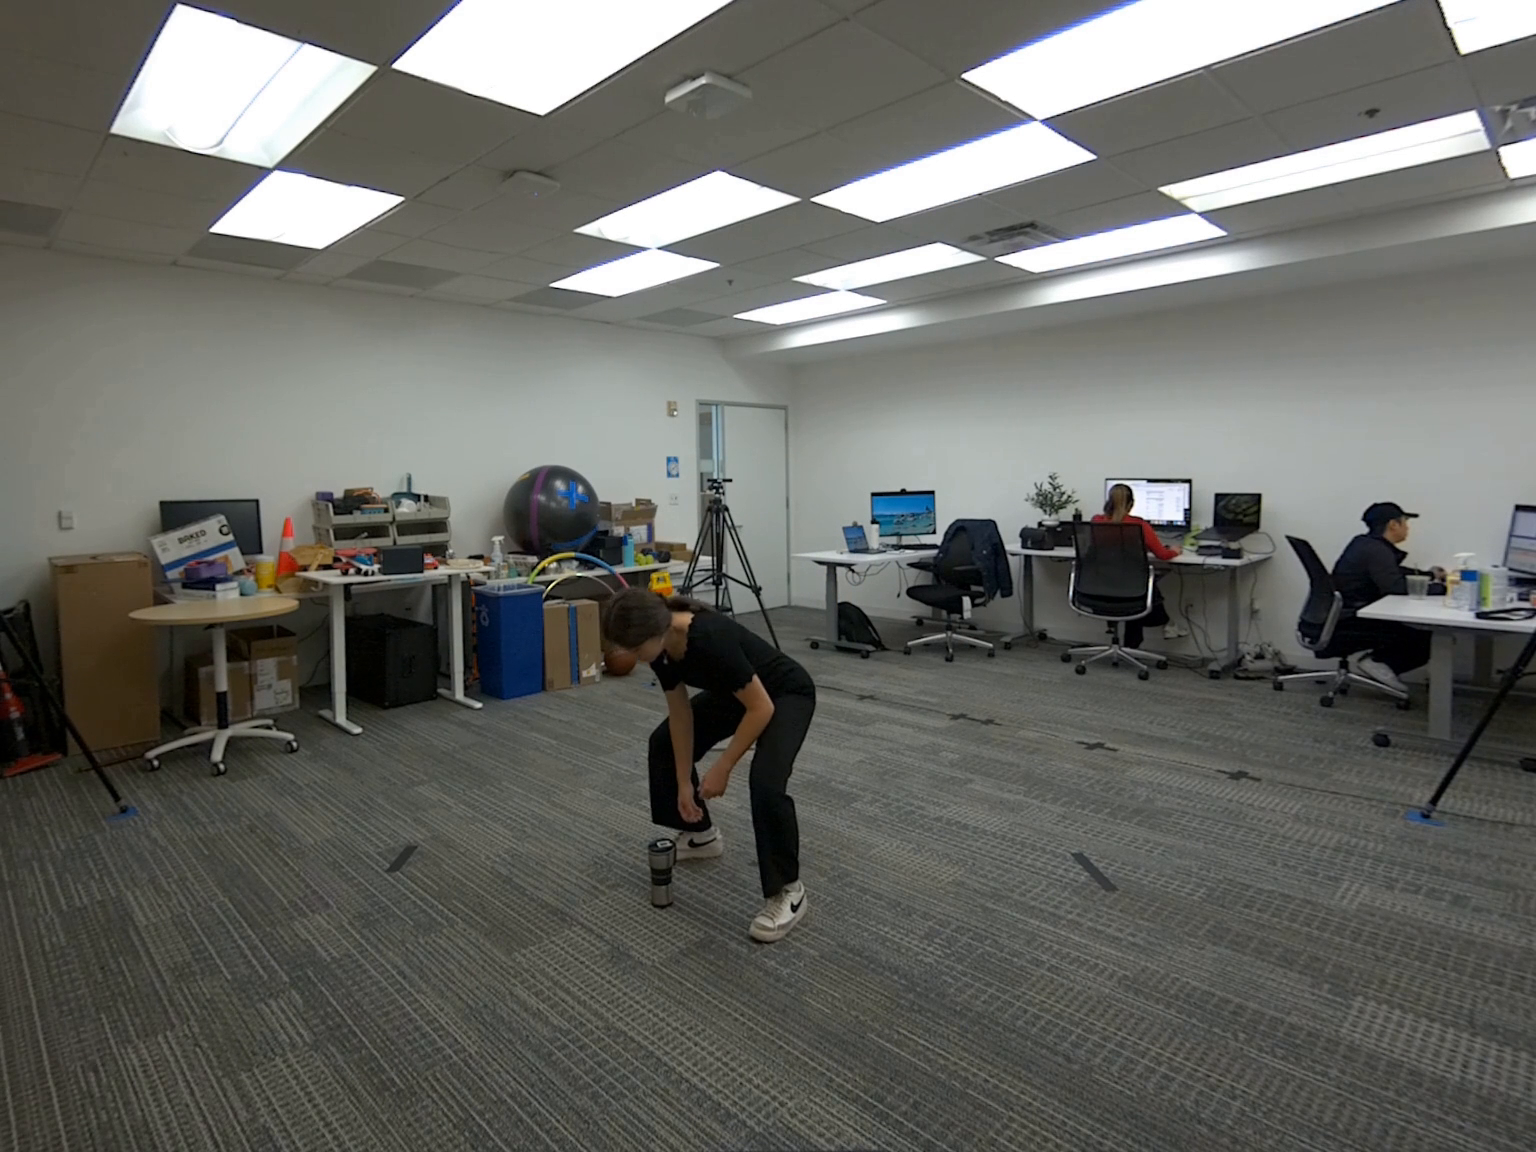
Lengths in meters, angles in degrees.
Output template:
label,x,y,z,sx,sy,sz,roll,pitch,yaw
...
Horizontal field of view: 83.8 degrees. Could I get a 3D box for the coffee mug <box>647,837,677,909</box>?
label,x,y,z,sx,sy,sz,roll,pitch,yaw
coffee mug,-0.338,0.988,2.832,0.090,0.202,0.119,-1,5,41
